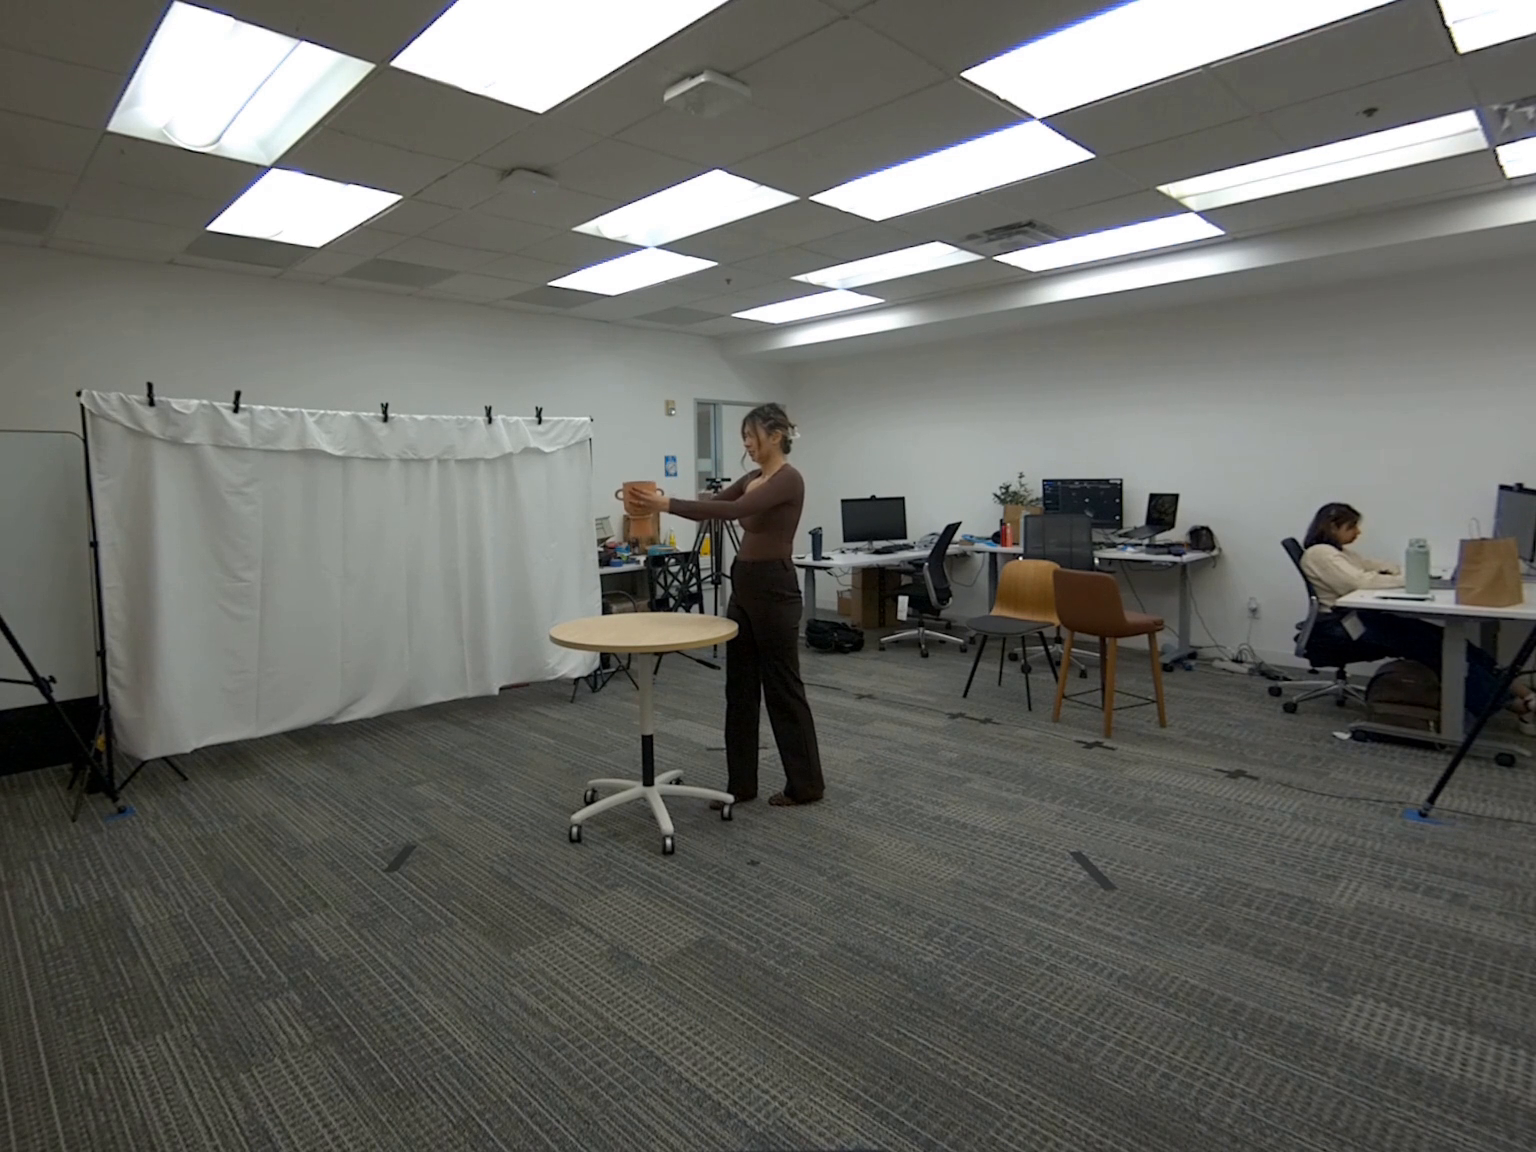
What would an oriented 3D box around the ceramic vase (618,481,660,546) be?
[{"bbox_3d":[-0.513,-0.270,3.445,0.163,0.219,0.131,1,6,36],"label":"ceramic vase"}]
